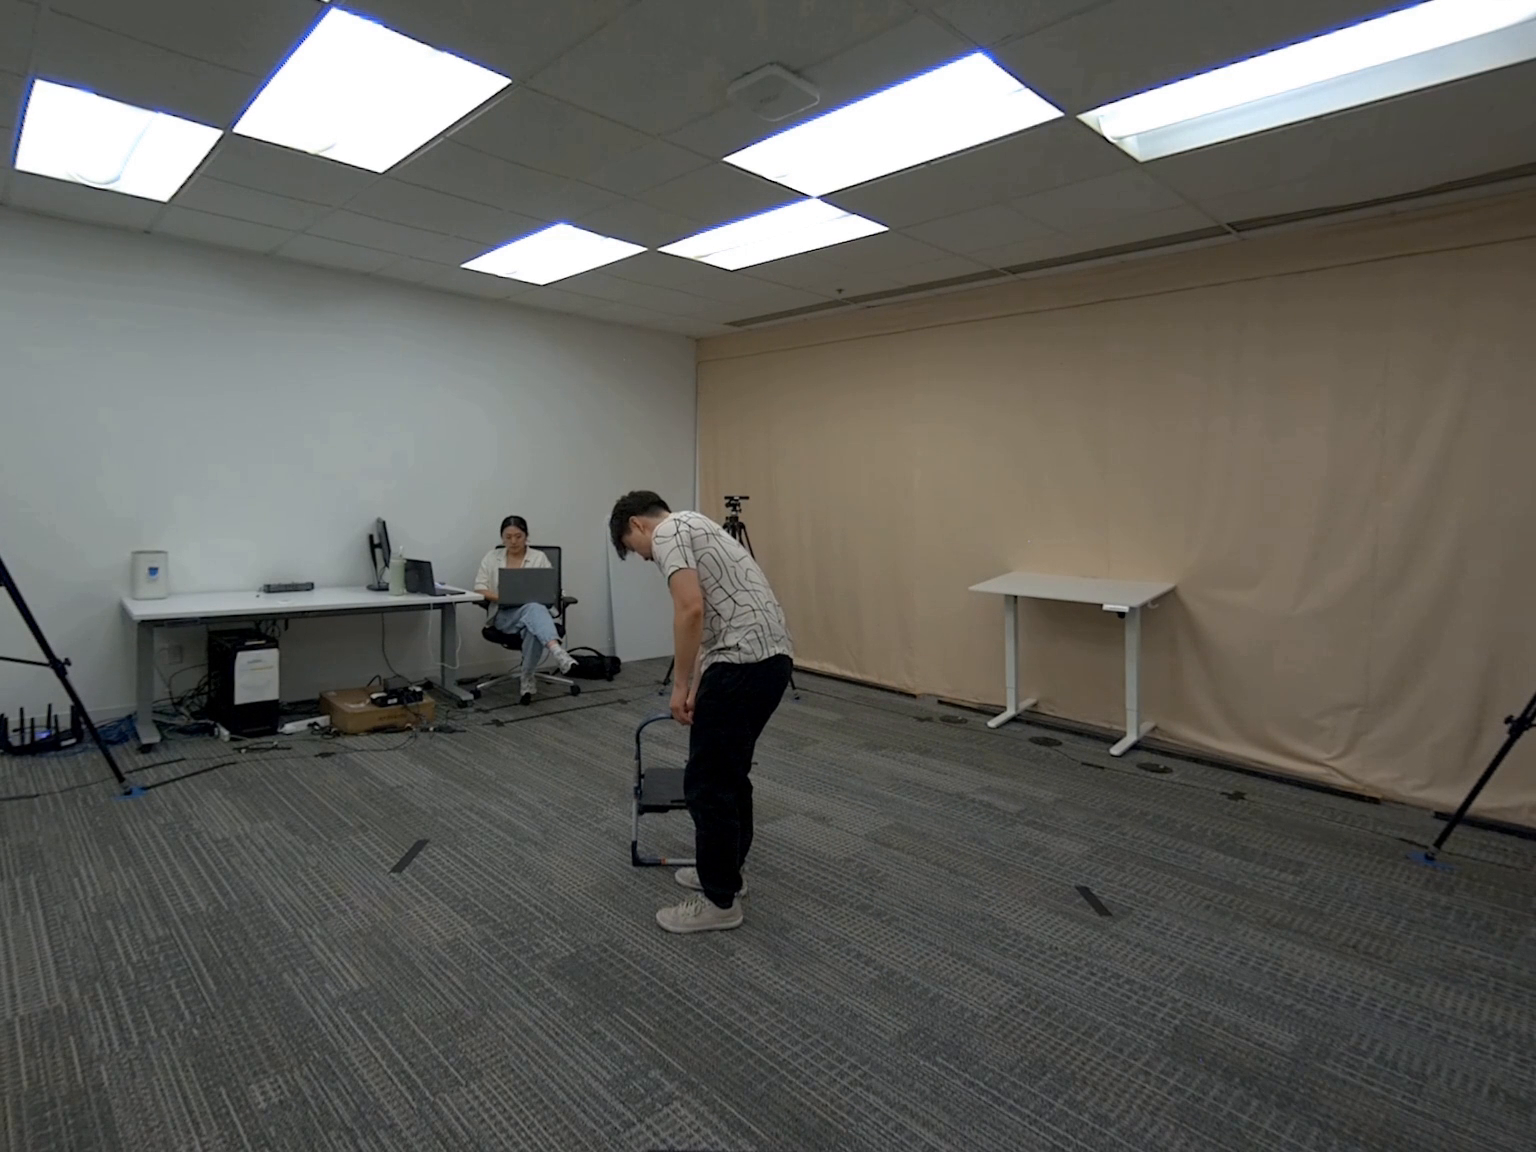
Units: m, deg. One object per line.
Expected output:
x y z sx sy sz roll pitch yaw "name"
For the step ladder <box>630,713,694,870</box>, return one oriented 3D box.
-0.314 0.766 3.233 0.429 0.598 0.355 1 19 -4 "step ladder"
